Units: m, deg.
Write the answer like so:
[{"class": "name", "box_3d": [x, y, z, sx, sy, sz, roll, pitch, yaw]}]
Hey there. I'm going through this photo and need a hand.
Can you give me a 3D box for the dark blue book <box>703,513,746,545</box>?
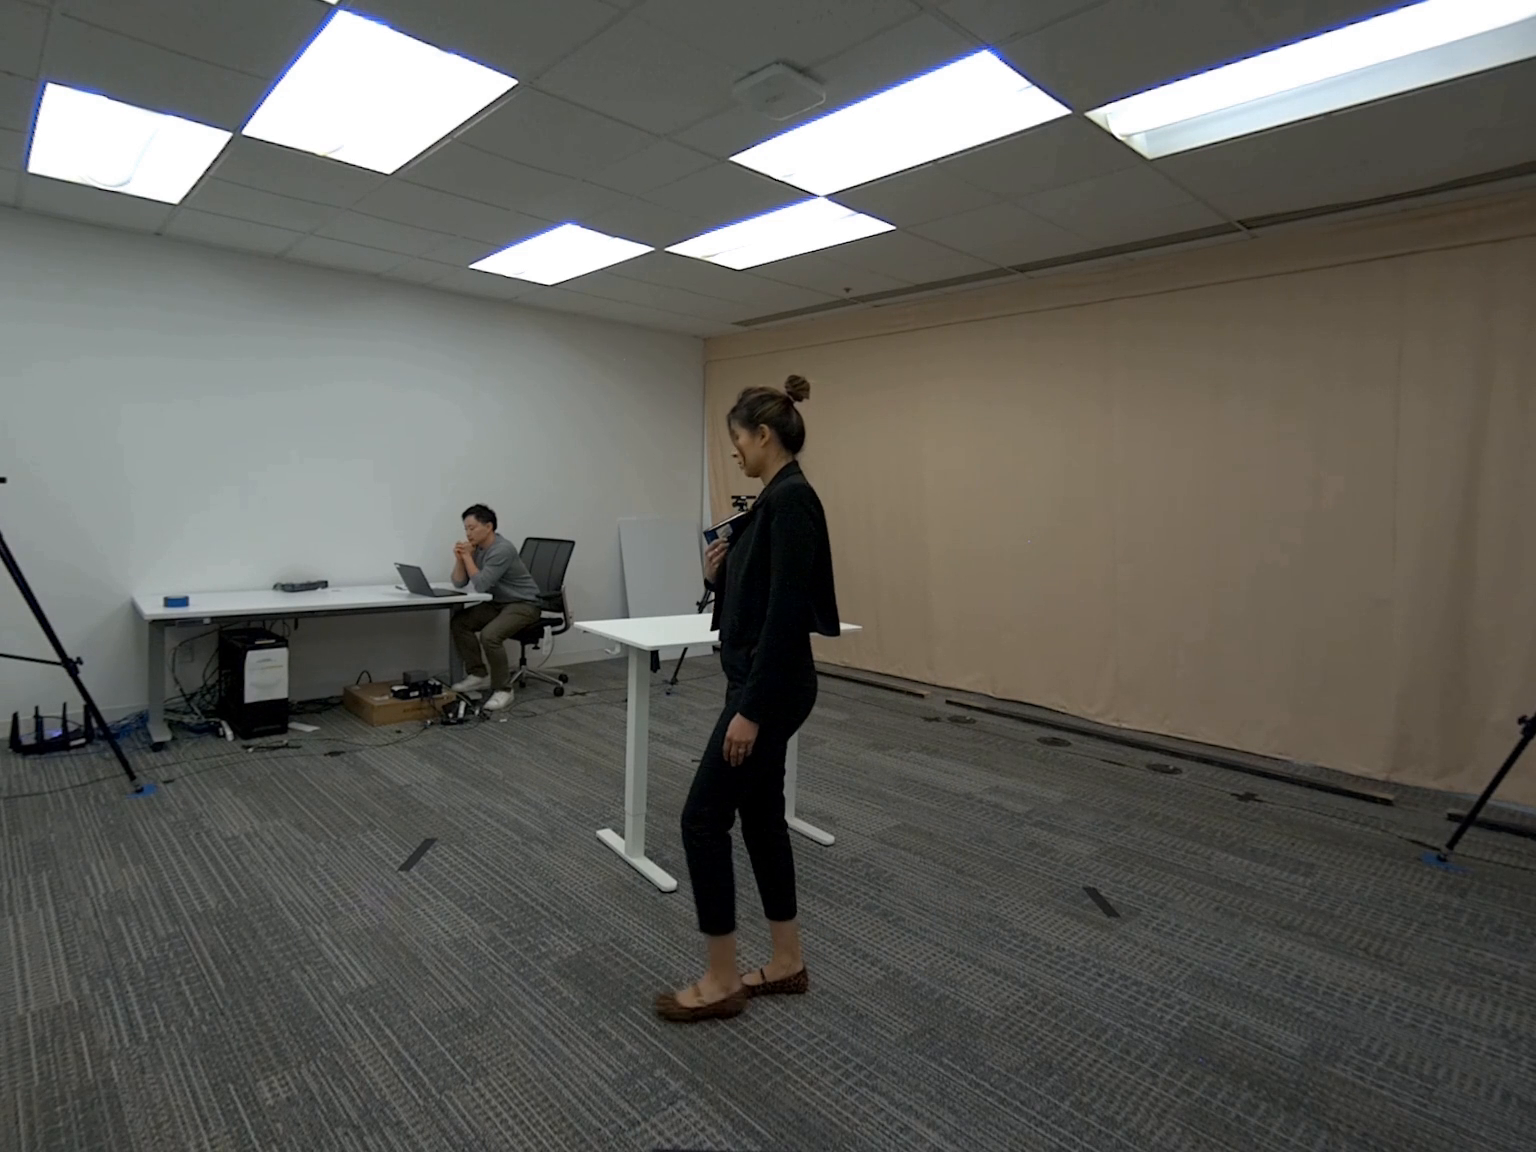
[{"class": "dark blue book", "box_3d": [-0.077, -0.047, 2.491, 0.162, 0.244, 0.046, -28, 7, -38]}]
